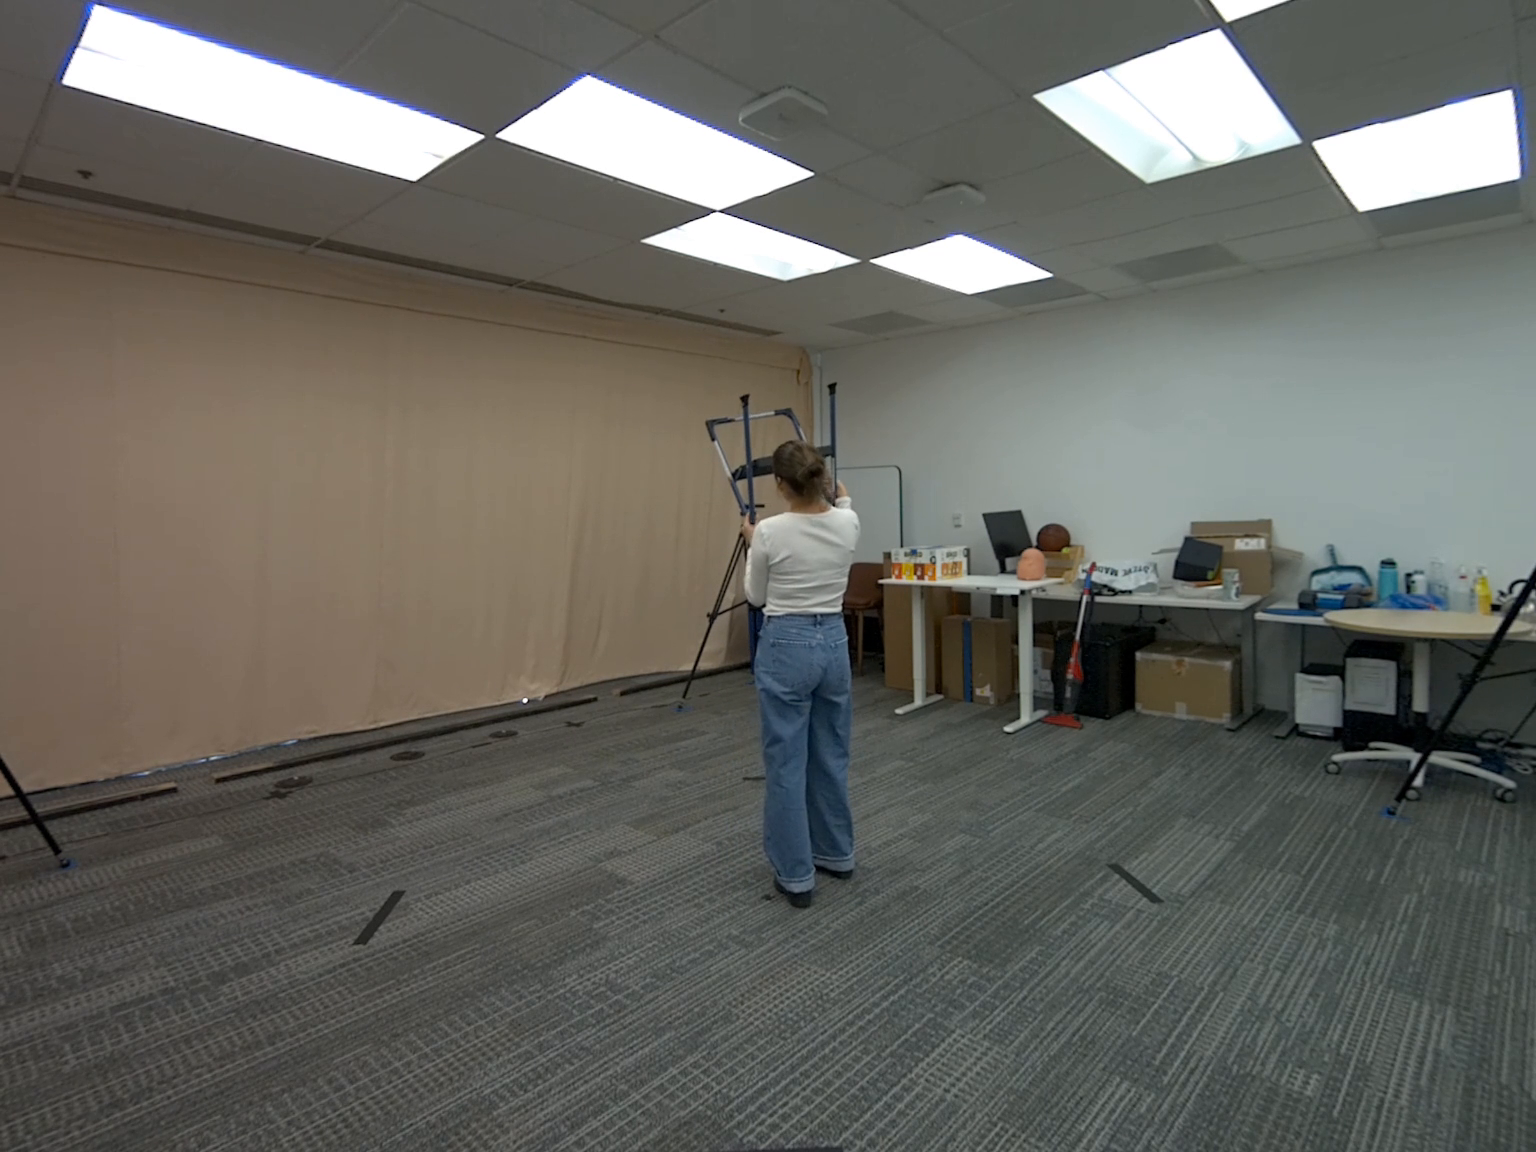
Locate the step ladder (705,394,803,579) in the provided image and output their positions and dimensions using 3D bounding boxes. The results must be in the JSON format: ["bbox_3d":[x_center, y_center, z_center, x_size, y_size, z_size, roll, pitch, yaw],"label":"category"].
[{"bbox_3d":[0.081,-0.379,3.260,0.421,0.606,0.357,-14,-1,-29],"label":"step ladder"}]
